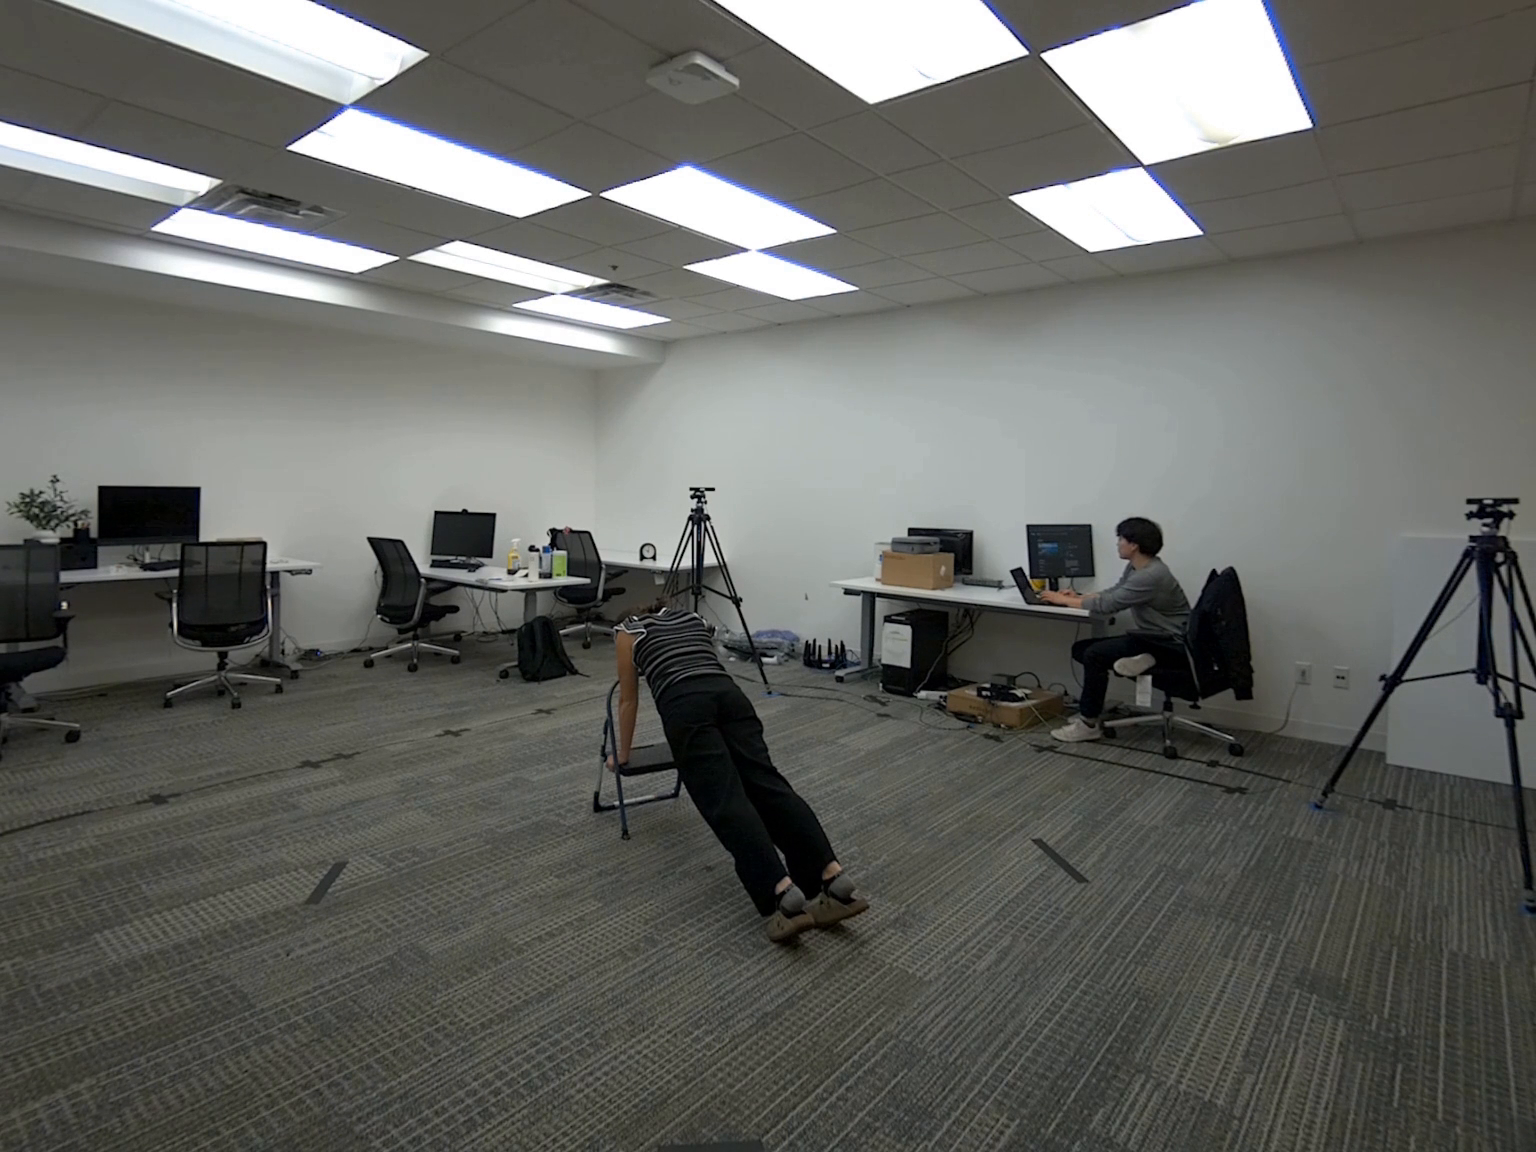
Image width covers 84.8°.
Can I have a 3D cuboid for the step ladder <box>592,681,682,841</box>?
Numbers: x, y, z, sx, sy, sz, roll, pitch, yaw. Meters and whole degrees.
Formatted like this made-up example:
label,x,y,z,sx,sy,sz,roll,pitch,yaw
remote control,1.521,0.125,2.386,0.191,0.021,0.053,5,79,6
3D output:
label,x,y,z,sx,sy,sz,roll,pitch,yaw
step ladder,-0.496,0.713,3.594,0.418,0.605,0.360,-1,3,-33
